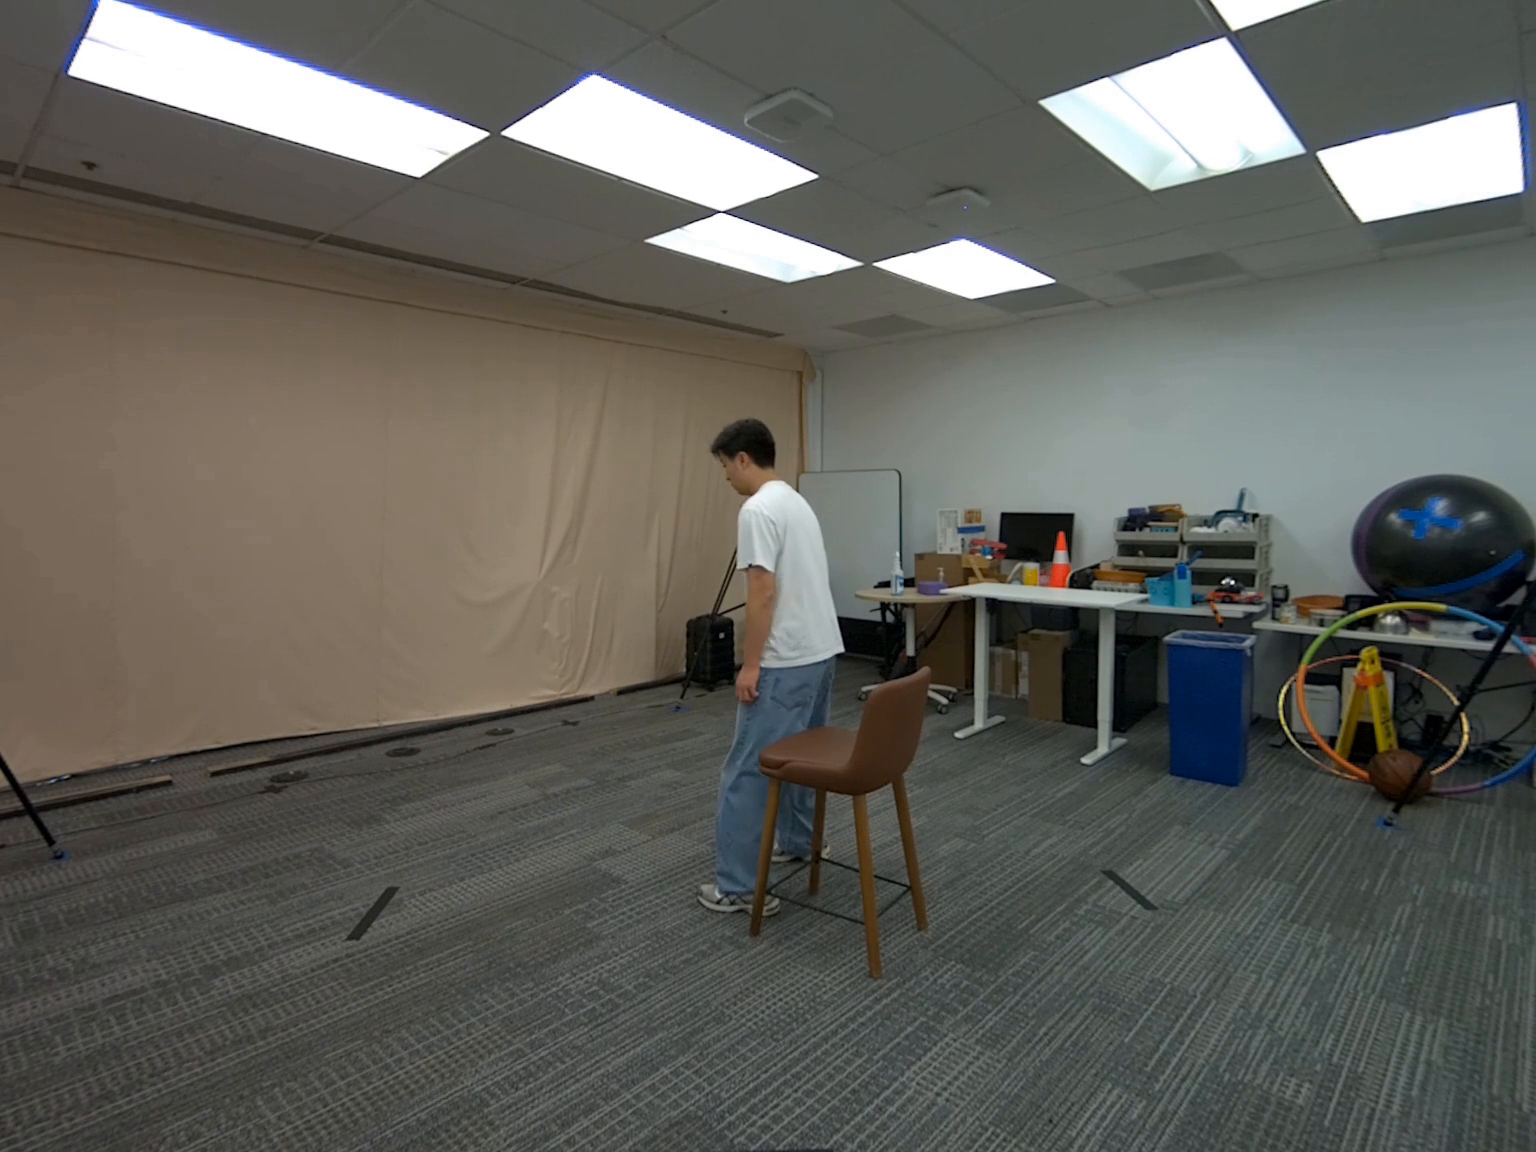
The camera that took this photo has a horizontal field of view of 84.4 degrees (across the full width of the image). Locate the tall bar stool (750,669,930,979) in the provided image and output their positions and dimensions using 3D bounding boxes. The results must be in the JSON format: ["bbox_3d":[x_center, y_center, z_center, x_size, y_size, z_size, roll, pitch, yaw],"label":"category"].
[{"bbox_3d":[0.247,0.726,2.728,0.483,0.887,0.443,4,5,36],"label":"tall bar stool"}]
